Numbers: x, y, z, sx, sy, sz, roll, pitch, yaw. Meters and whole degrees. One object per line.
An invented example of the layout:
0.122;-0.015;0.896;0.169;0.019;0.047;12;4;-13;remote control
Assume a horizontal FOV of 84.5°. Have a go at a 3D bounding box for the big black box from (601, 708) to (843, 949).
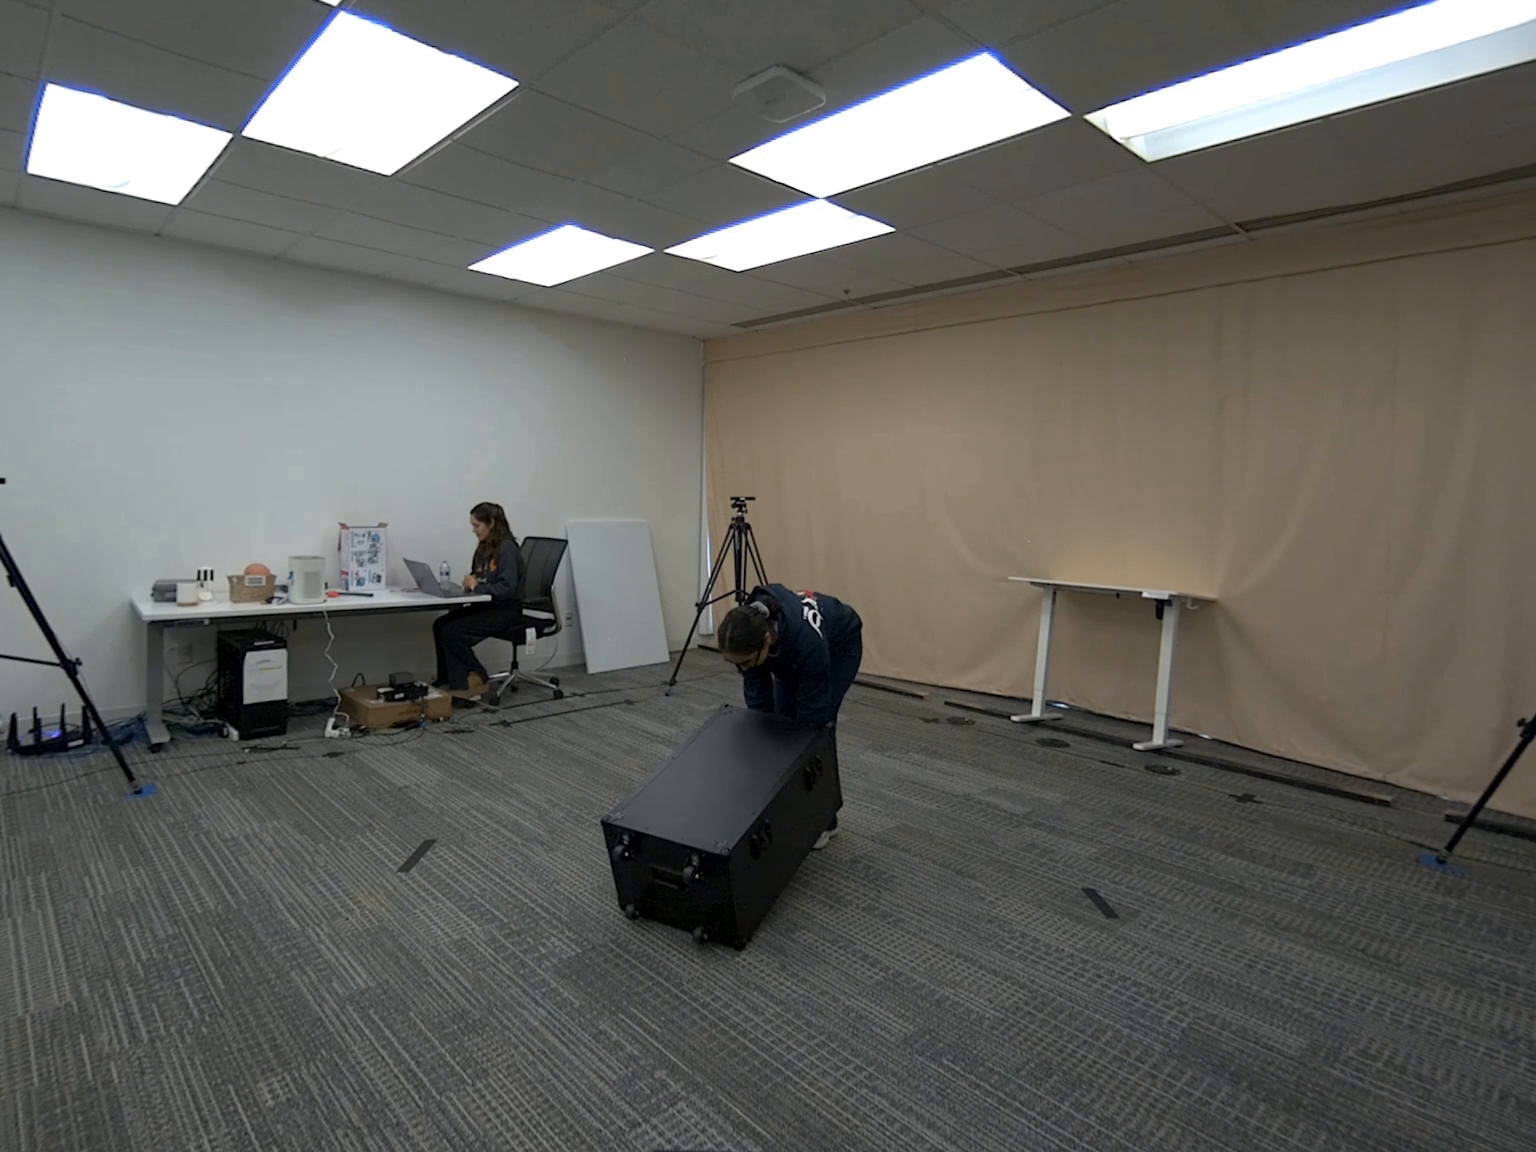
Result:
-0.151;0.858;2.937;0.532;0.390;0.855;4;22;29;big black box
